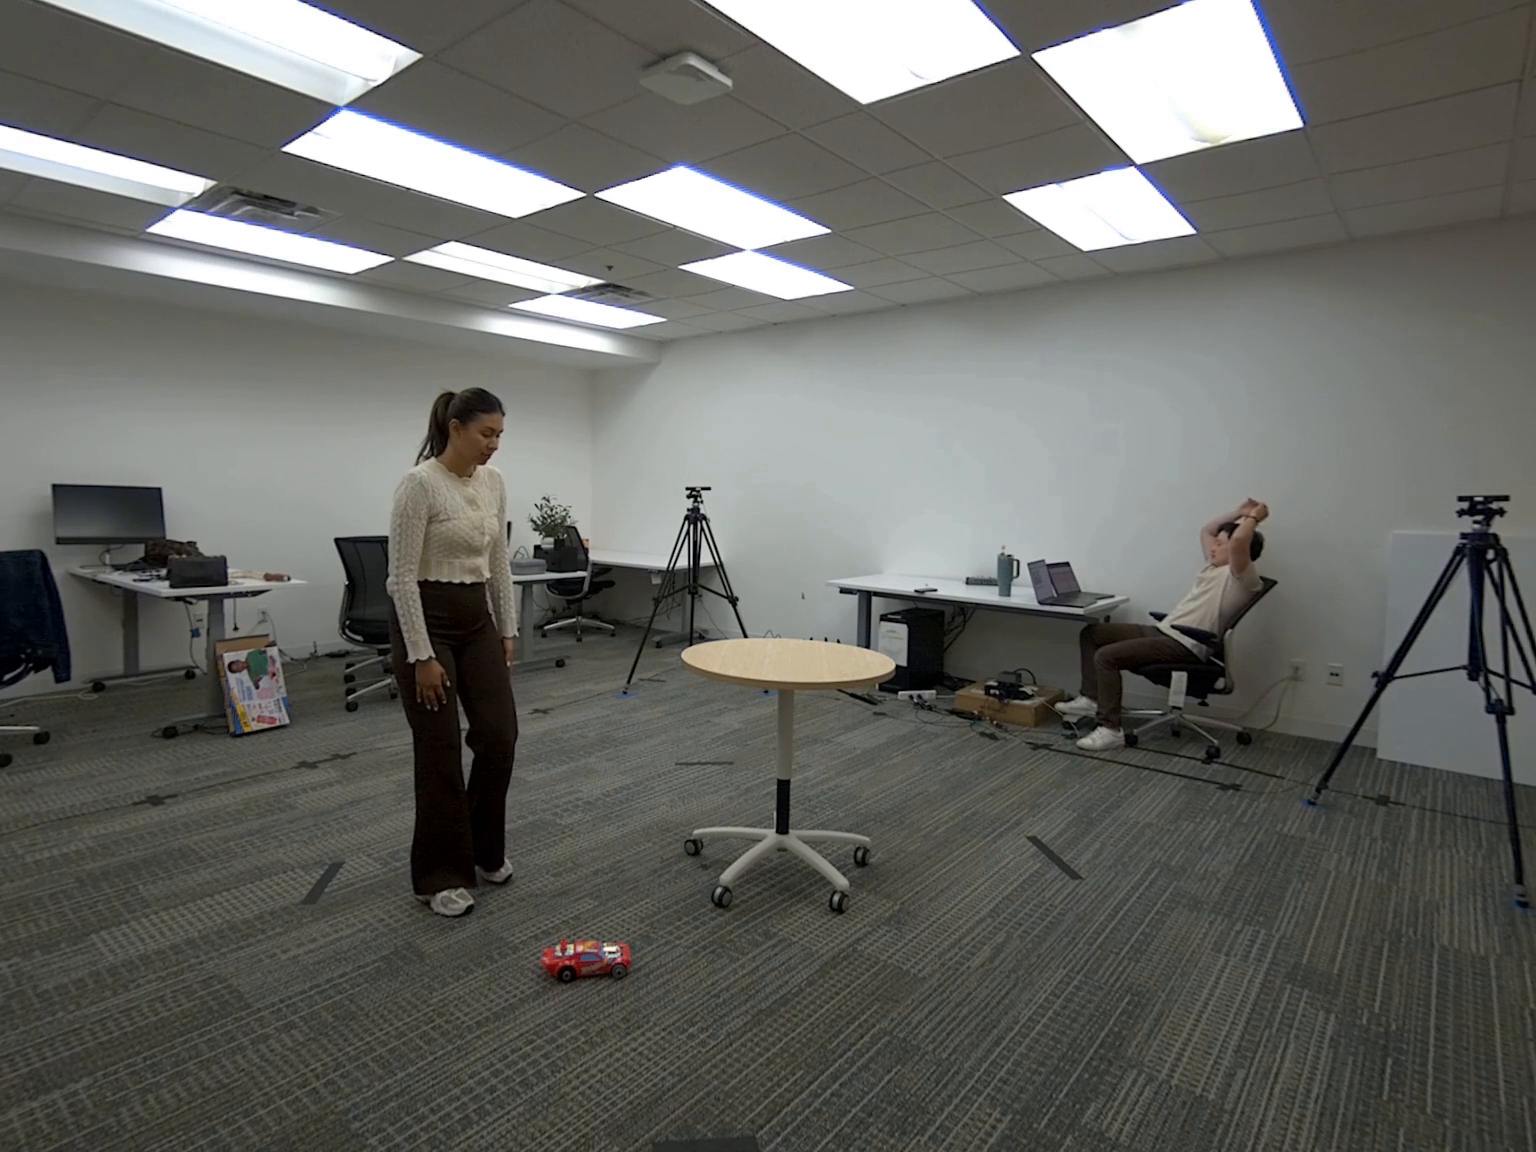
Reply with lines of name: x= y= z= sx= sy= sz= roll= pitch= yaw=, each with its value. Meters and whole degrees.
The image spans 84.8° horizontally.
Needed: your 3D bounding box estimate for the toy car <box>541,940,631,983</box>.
toy car: x=-0.534 y=1.098 z=2.432 sx=0.251 sy=0.083 sz=0.132 roll=11 pitch=2 yaw=-11
